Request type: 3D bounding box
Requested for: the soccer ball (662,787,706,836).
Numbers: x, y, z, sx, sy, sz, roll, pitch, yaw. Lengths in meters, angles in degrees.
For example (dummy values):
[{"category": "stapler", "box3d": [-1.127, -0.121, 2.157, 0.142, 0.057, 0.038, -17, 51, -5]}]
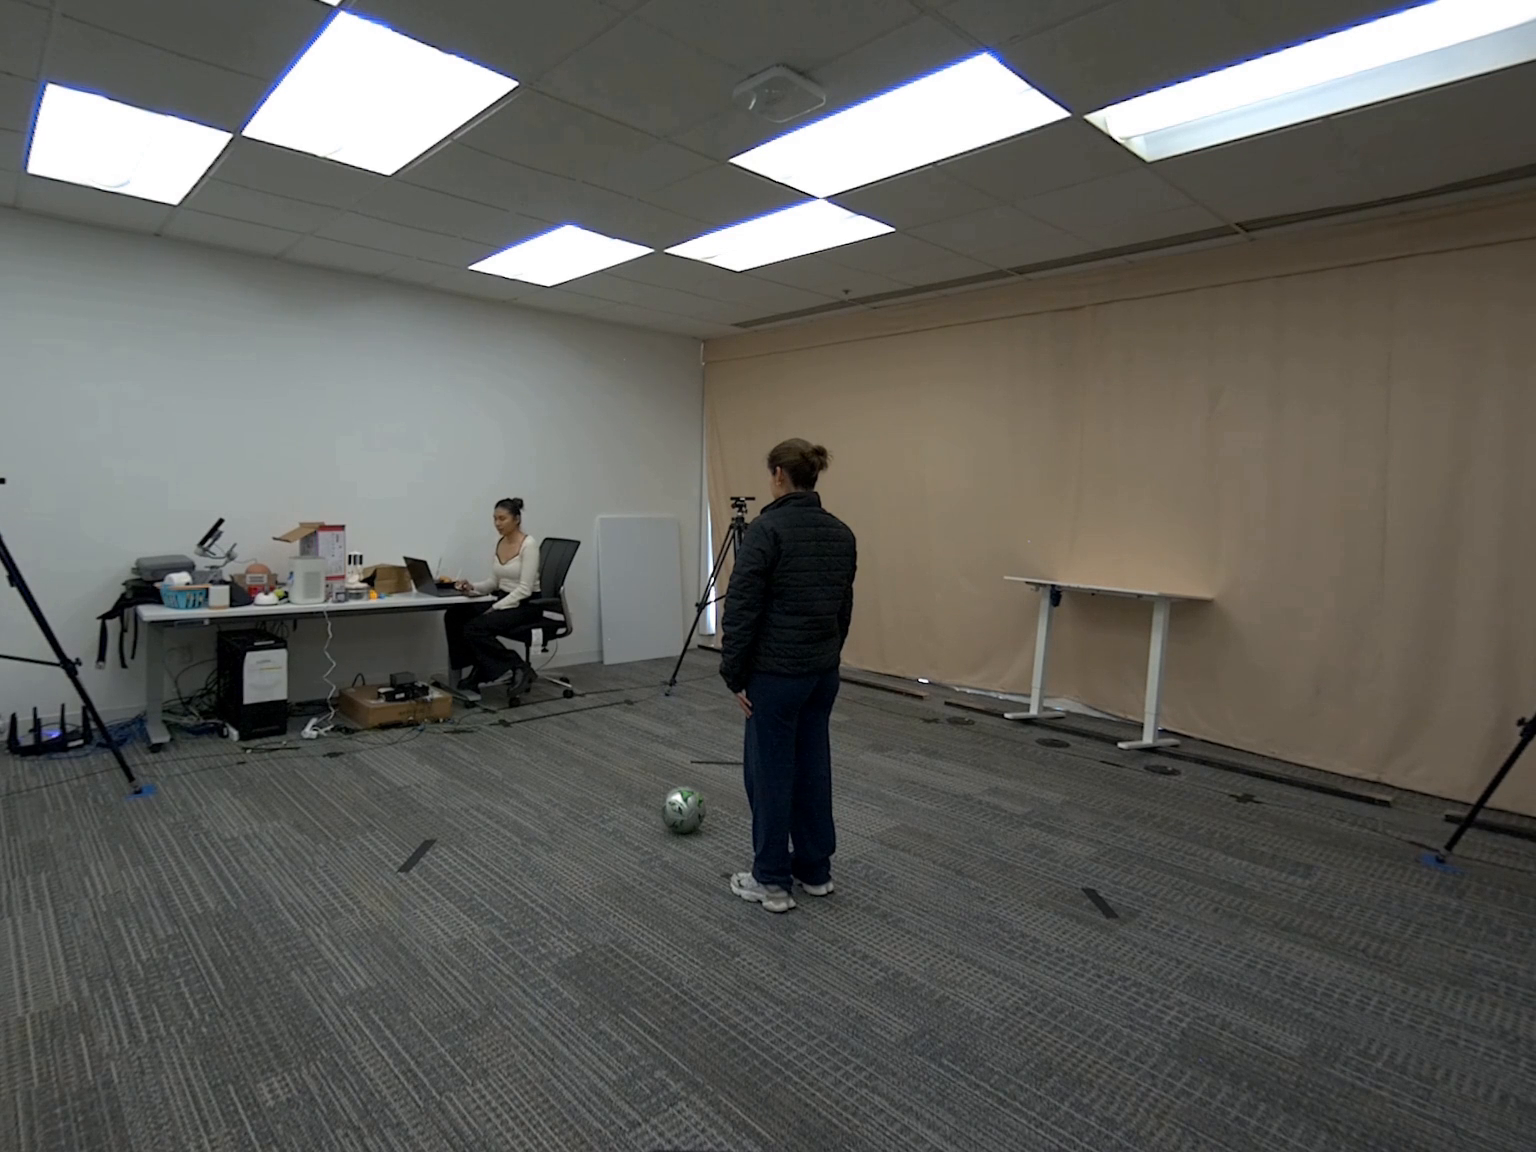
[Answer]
[{"category": "soccer ball", "box3d": [-0.361, 0.974, 3.507, 0.187, 0.187, 0.188, 1, 4, -1]}]
